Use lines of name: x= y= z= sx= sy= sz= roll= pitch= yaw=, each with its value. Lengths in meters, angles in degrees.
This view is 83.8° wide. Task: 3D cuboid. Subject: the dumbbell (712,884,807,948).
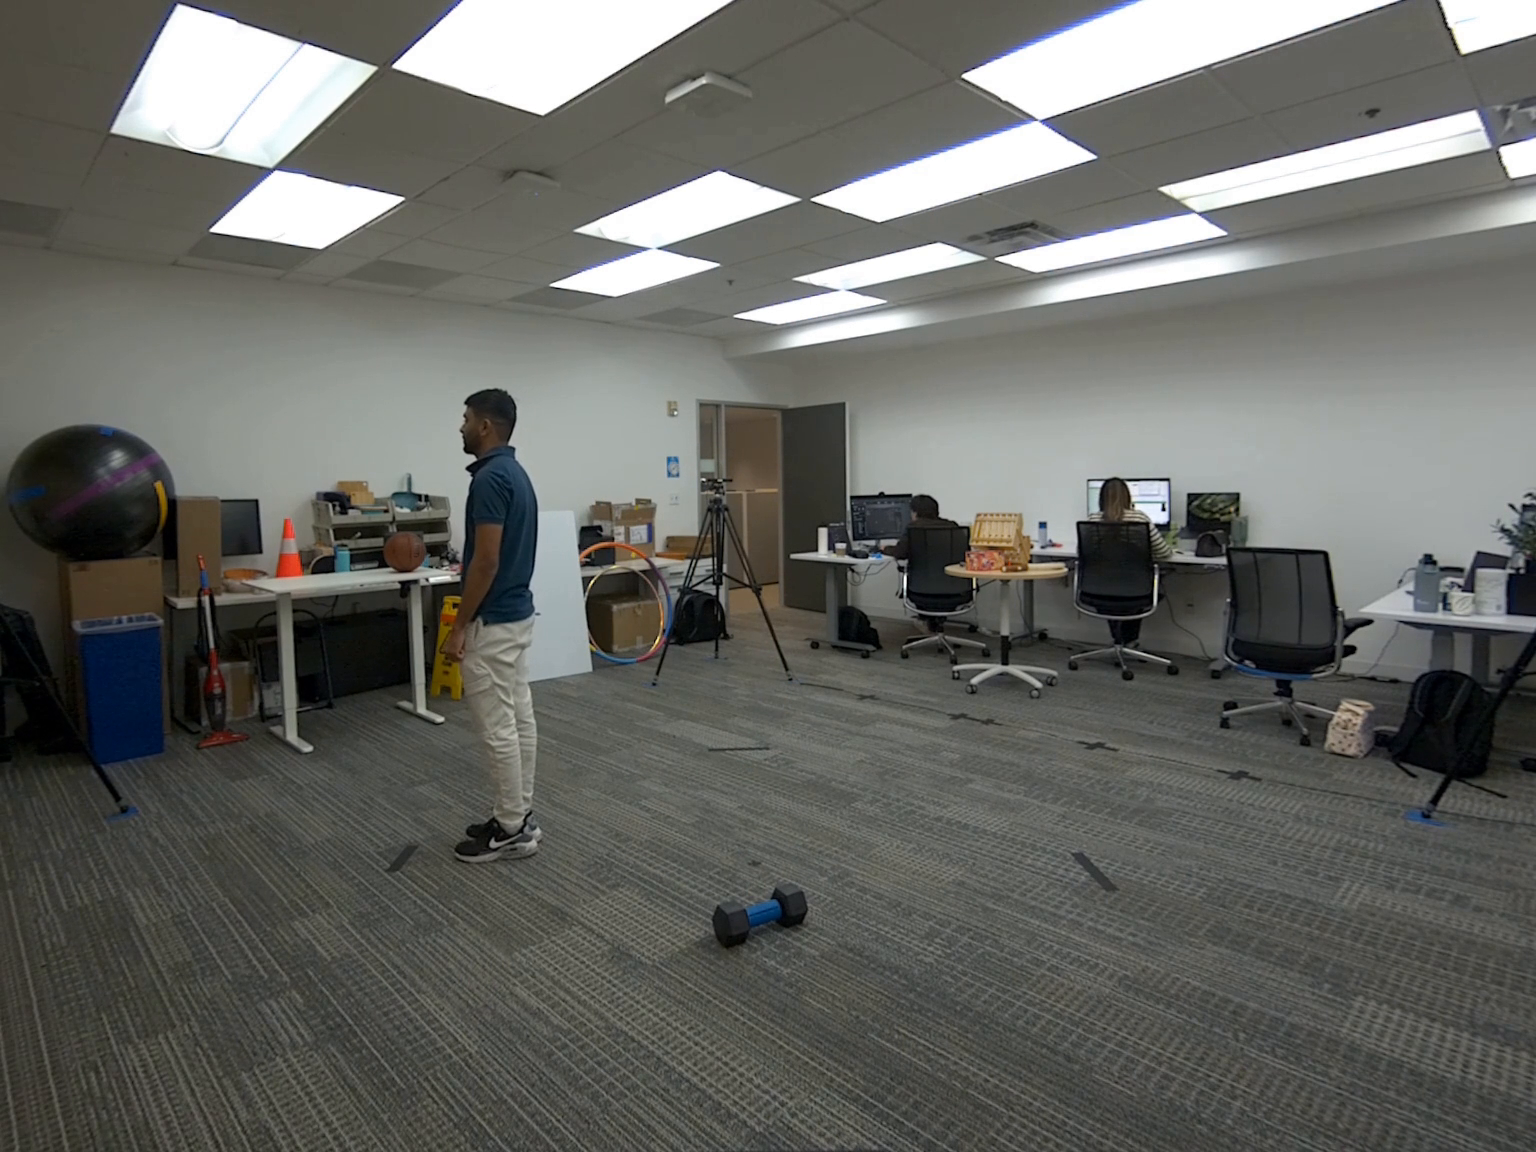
dumbbell: x=-0.015 y=1.044 z=2.636 sx=0.287 sy=0.121 sz=0.113 roll=-4 pitch=38 yaw=-31
